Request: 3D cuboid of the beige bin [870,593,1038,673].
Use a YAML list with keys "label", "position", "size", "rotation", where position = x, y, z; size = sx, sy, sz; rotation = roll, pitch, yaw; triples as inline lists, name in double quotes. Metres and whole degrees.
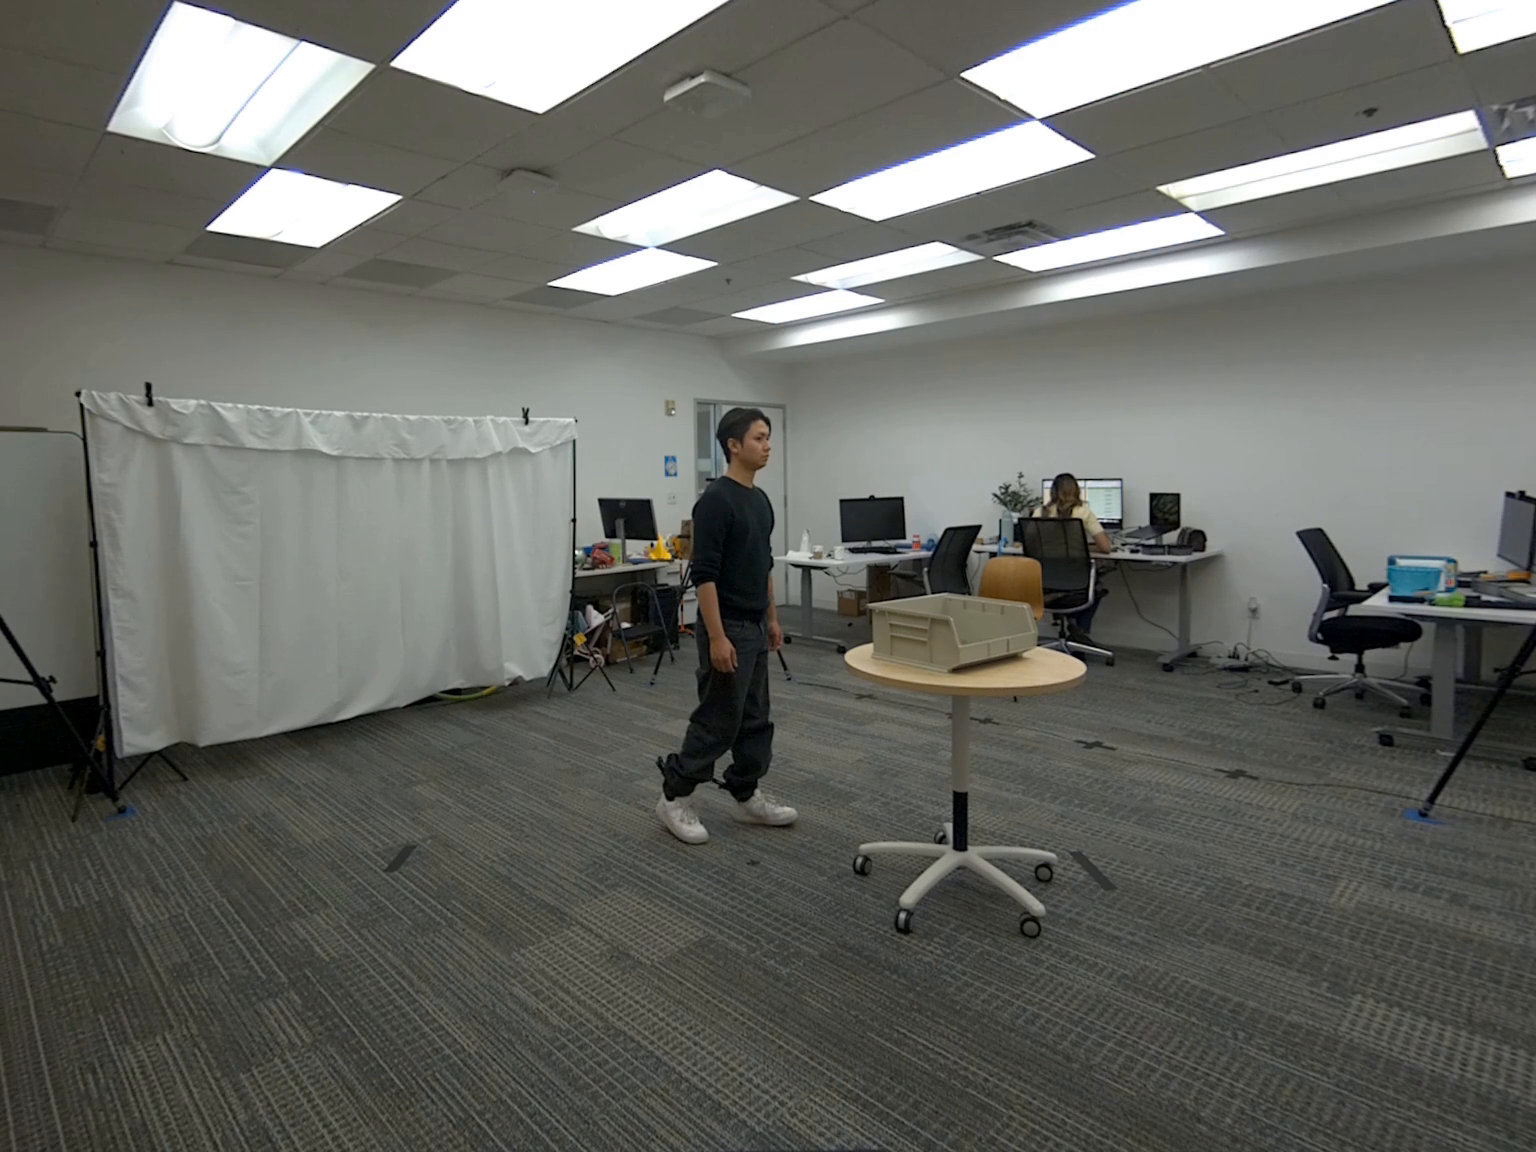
- label: "beige bin"
  position: [0.617, 0.184, 2.854]
  size: [0.411, 0.188, 0.388]
  rotation: [-6, 6, -39]
